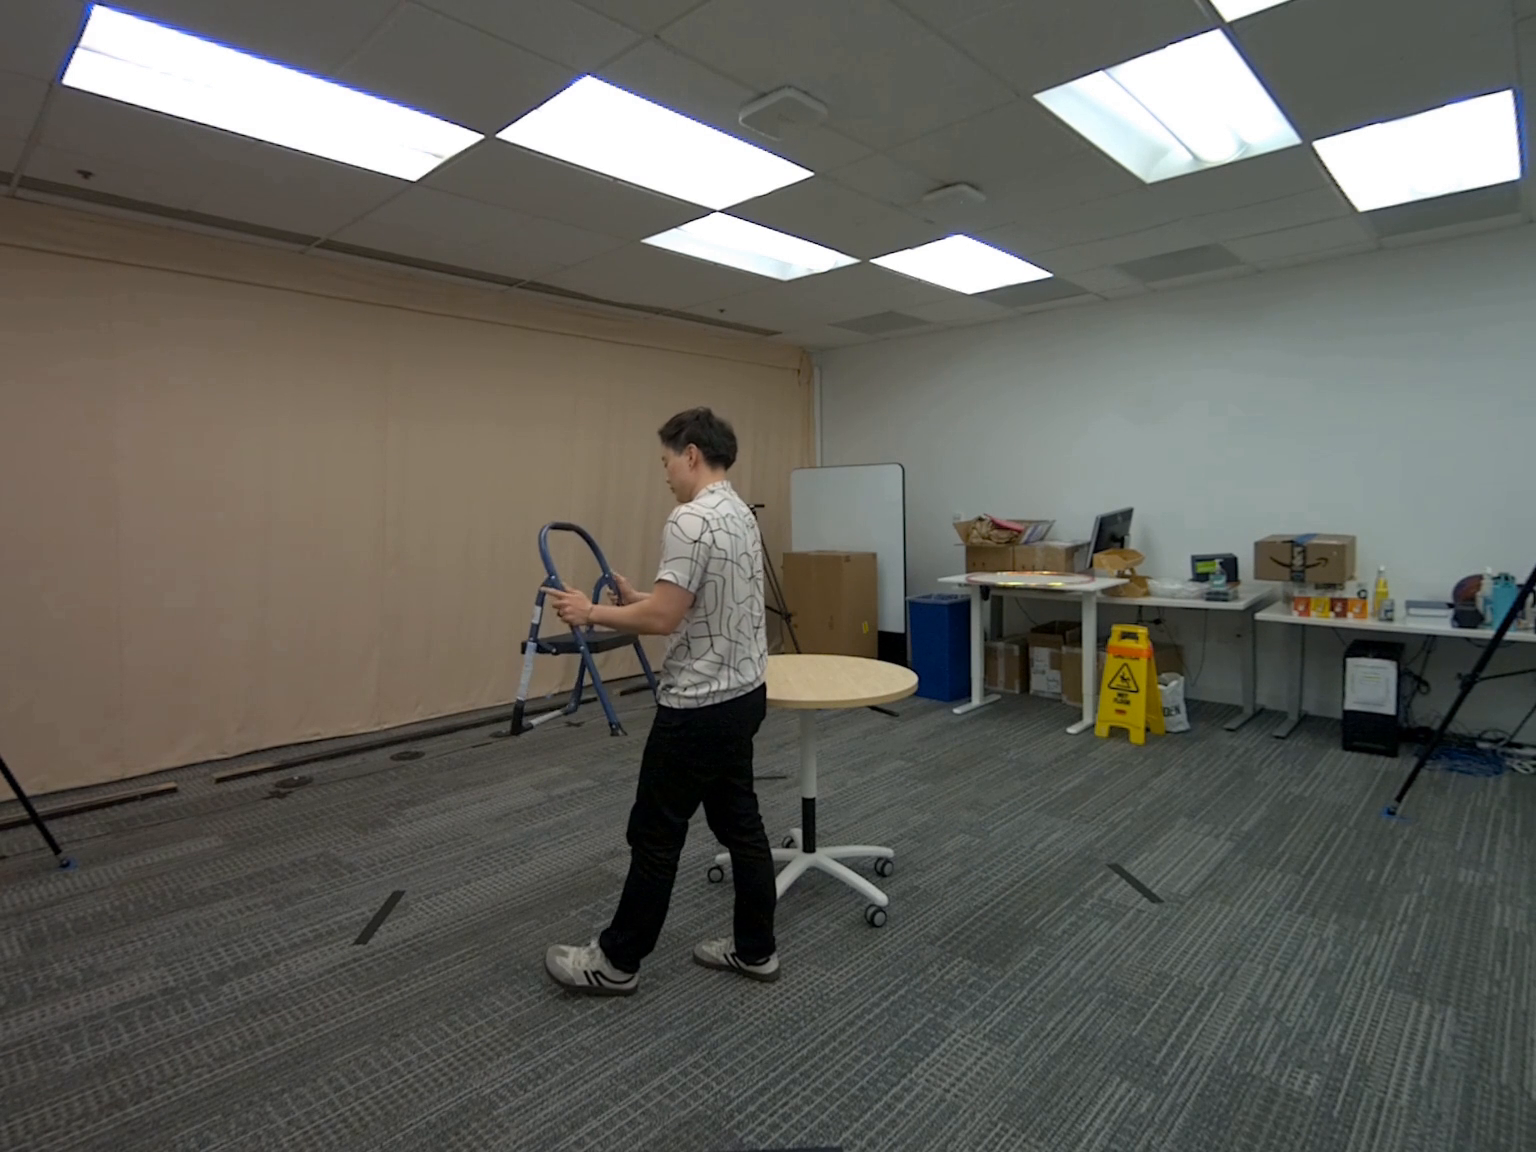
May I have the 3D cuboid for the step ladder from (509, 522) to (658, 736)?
[{"bbox_3d":[-0.542,0.142,2.524,0.354,0.606,0.424,-2,-1,12],"label":"step ladder"}]
